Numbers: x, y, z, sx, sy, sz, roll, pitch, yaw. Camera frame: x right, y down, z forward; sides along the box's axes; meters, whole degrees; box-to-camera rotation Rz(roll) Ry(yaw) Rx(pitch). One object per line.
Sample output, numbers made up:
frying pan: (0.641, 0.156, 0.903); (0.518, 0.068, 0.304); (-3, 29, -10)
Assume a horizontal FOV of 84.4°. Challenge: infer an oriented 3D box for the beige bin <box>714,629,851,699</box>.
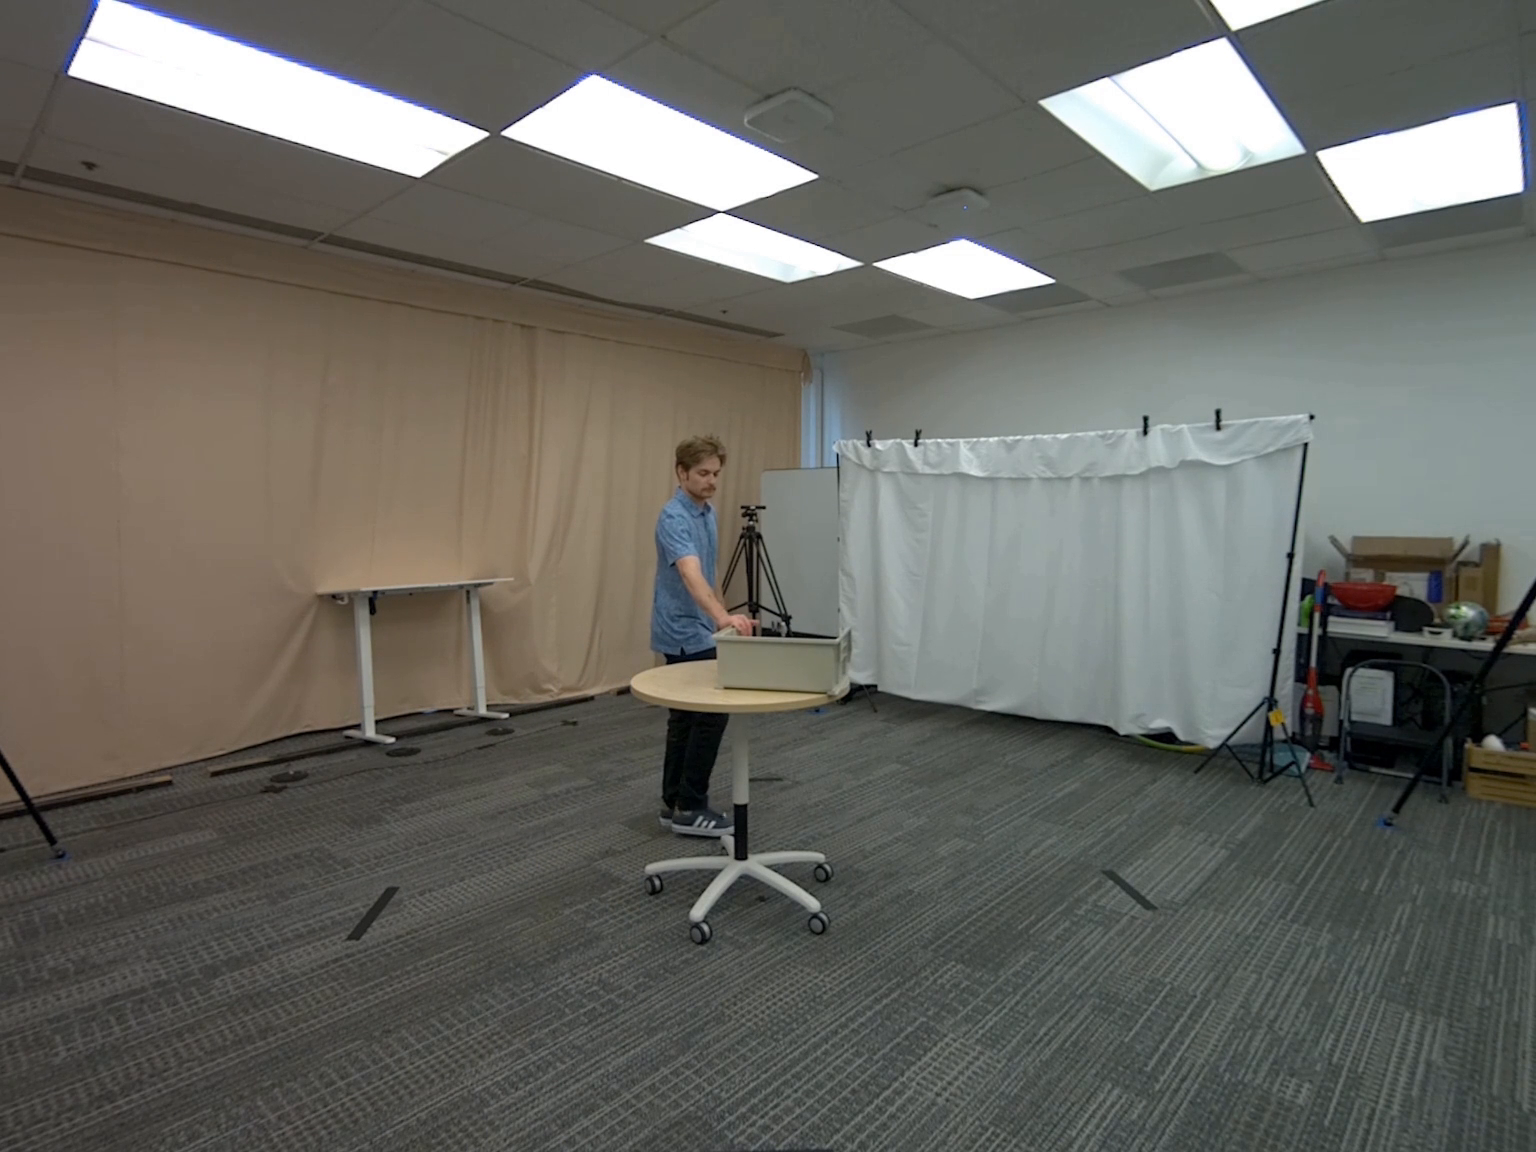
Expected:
beige bin: (0.062, 0.278, 2.911); (0.429, 0.188, 0.372); (1, 6, 14)
